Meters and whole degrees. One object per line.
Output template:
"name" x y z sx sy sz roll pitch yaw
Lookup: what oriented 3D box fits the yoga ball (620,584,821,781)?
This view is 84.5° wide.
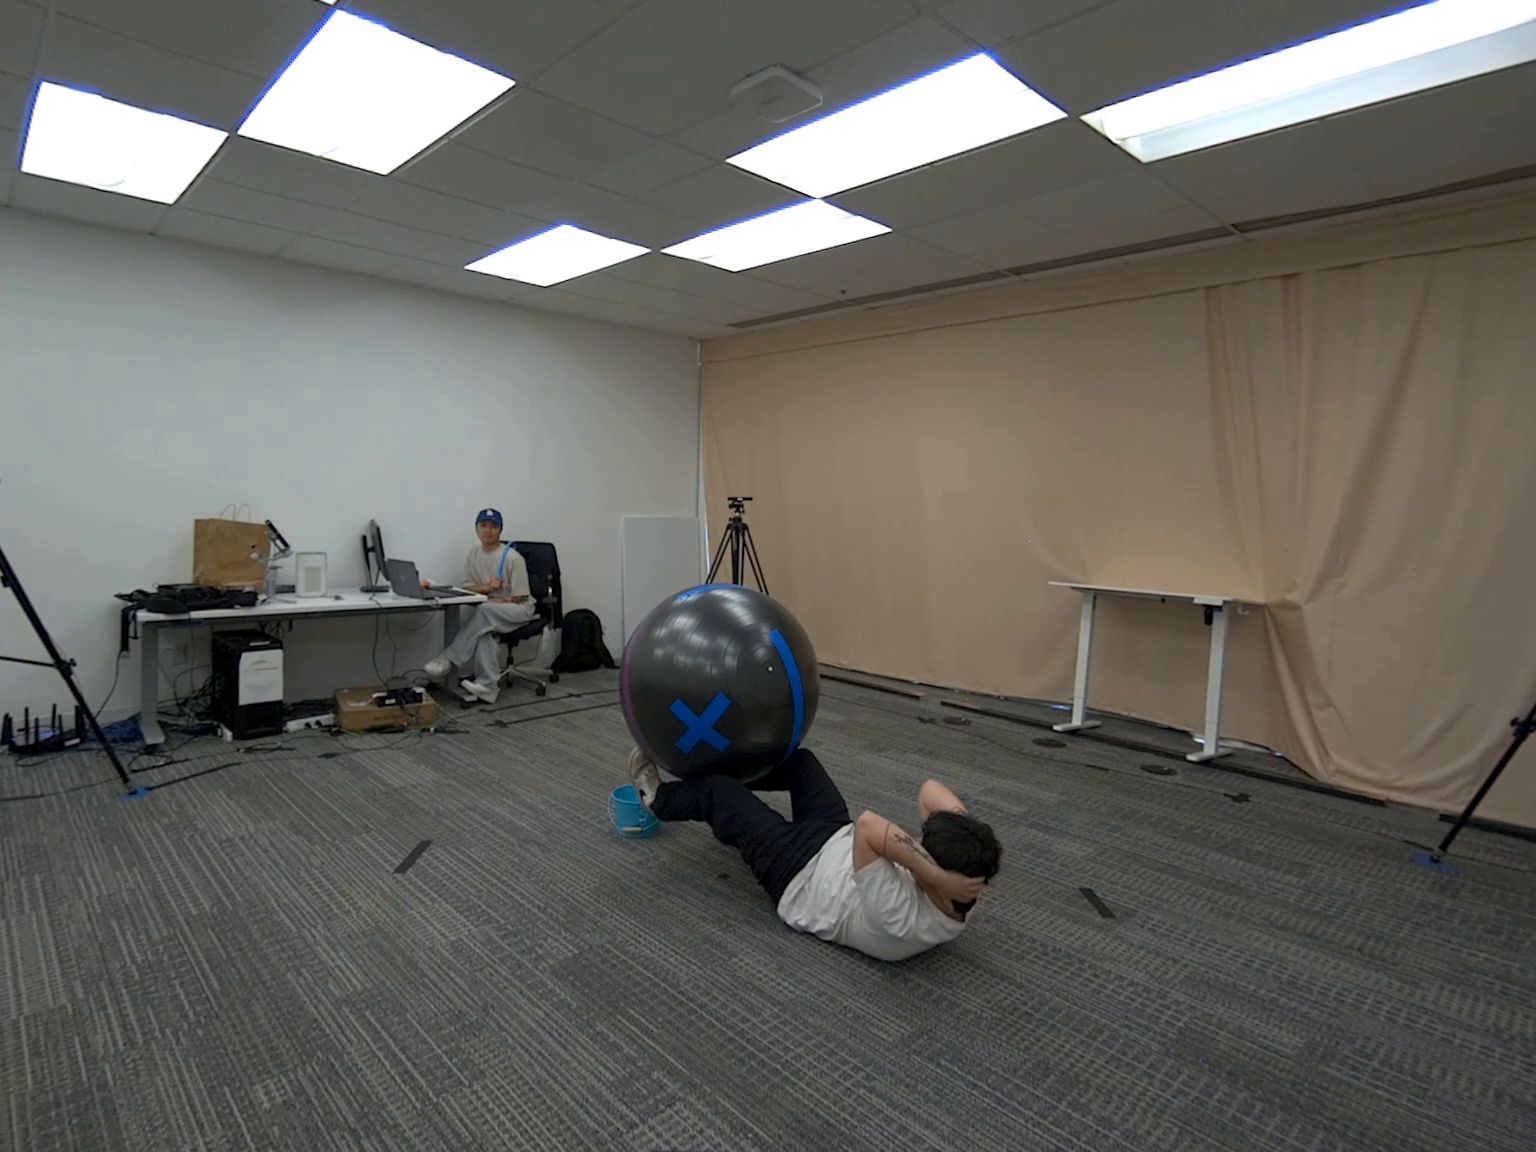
"yoga ball" -0.188 0.407 3.197 0.757 0.756 0.760 1 4 -1
